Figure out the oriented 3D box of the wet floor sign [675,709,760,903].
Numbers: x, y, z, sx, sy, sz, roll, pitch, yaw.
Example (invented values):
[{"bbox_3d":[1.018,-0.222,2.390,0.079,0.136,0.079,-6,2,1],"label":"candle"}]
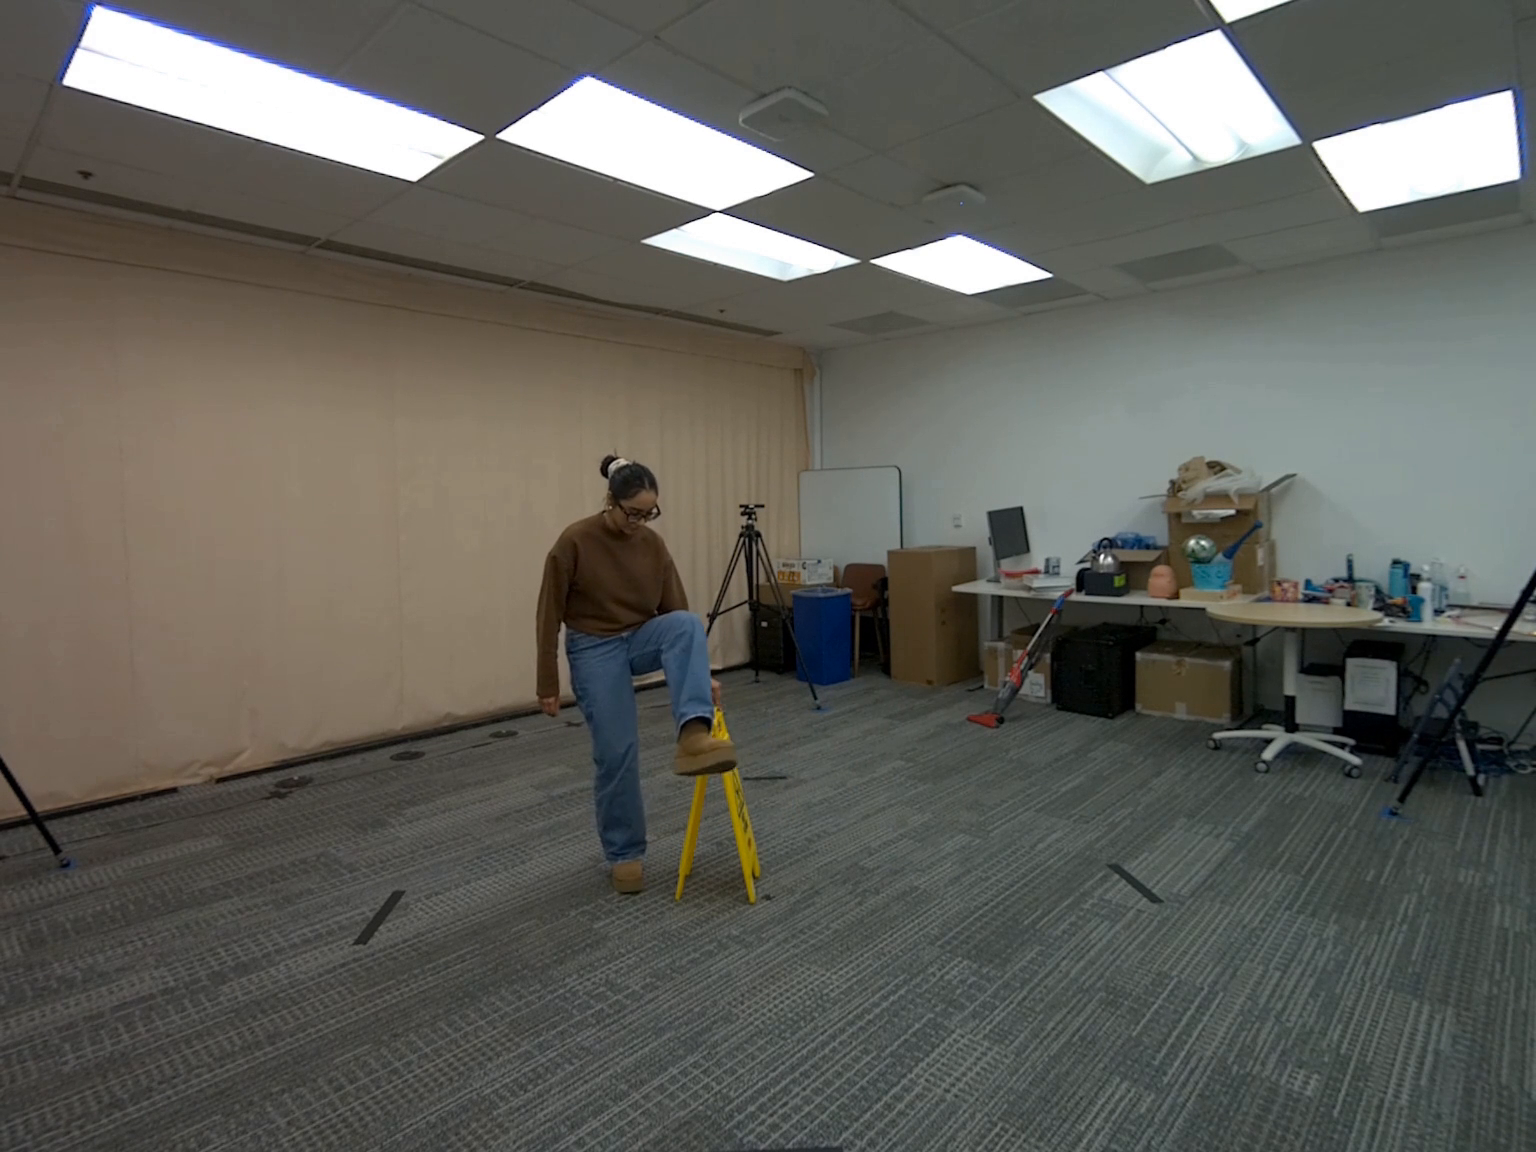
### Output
[{"bbox_3d":[-0.183,0.823,3.064,0.292,0.645,0.281,-1,2,5],"label":"wet floor sign"}]
